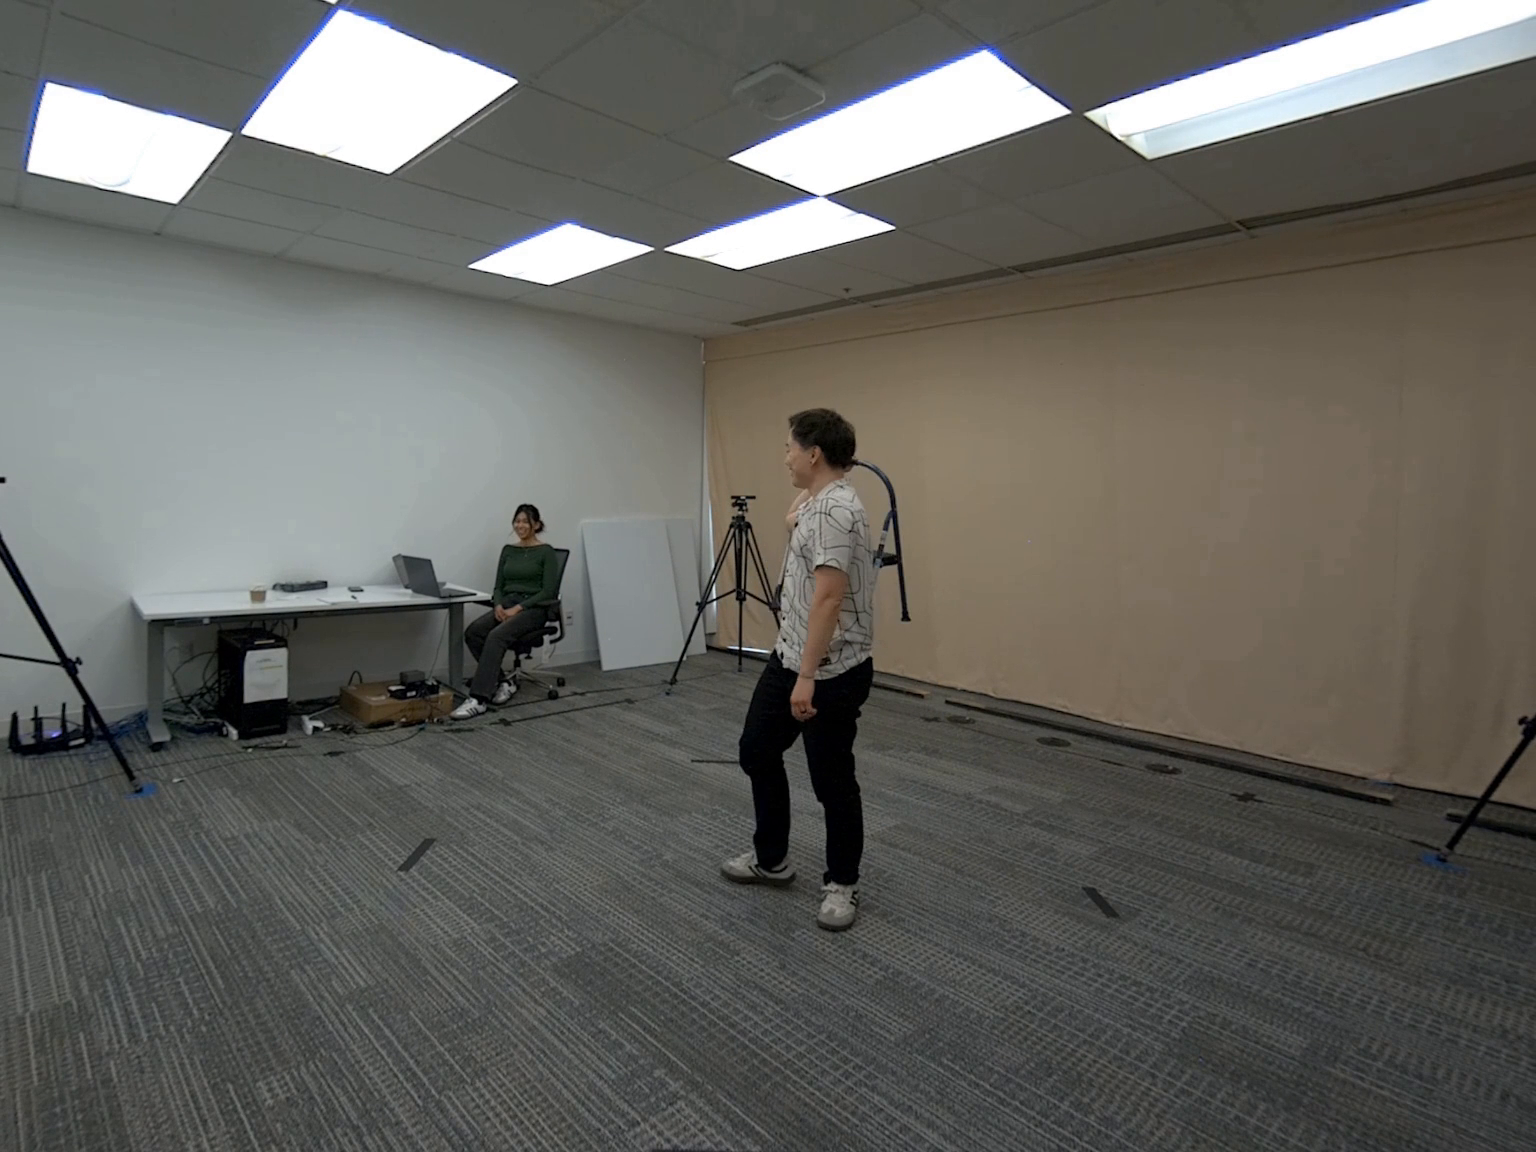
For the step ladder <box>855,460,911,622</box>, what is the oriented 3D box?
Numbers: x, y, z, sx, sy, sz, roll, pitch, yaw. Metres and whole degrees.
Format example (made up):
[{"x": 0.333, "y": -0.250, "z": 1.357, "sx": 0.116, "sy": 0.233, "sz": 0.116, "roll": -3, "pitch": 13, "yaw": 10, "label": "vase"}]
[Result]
[{"x": 0.288, "y": -0.142, "z": 3.191, "sx": 0.442, "sy": 0.602, "sz": 0.342, "roll": 11, "pitch": 11, "yaw": 38, "label": "step ladder"}]
